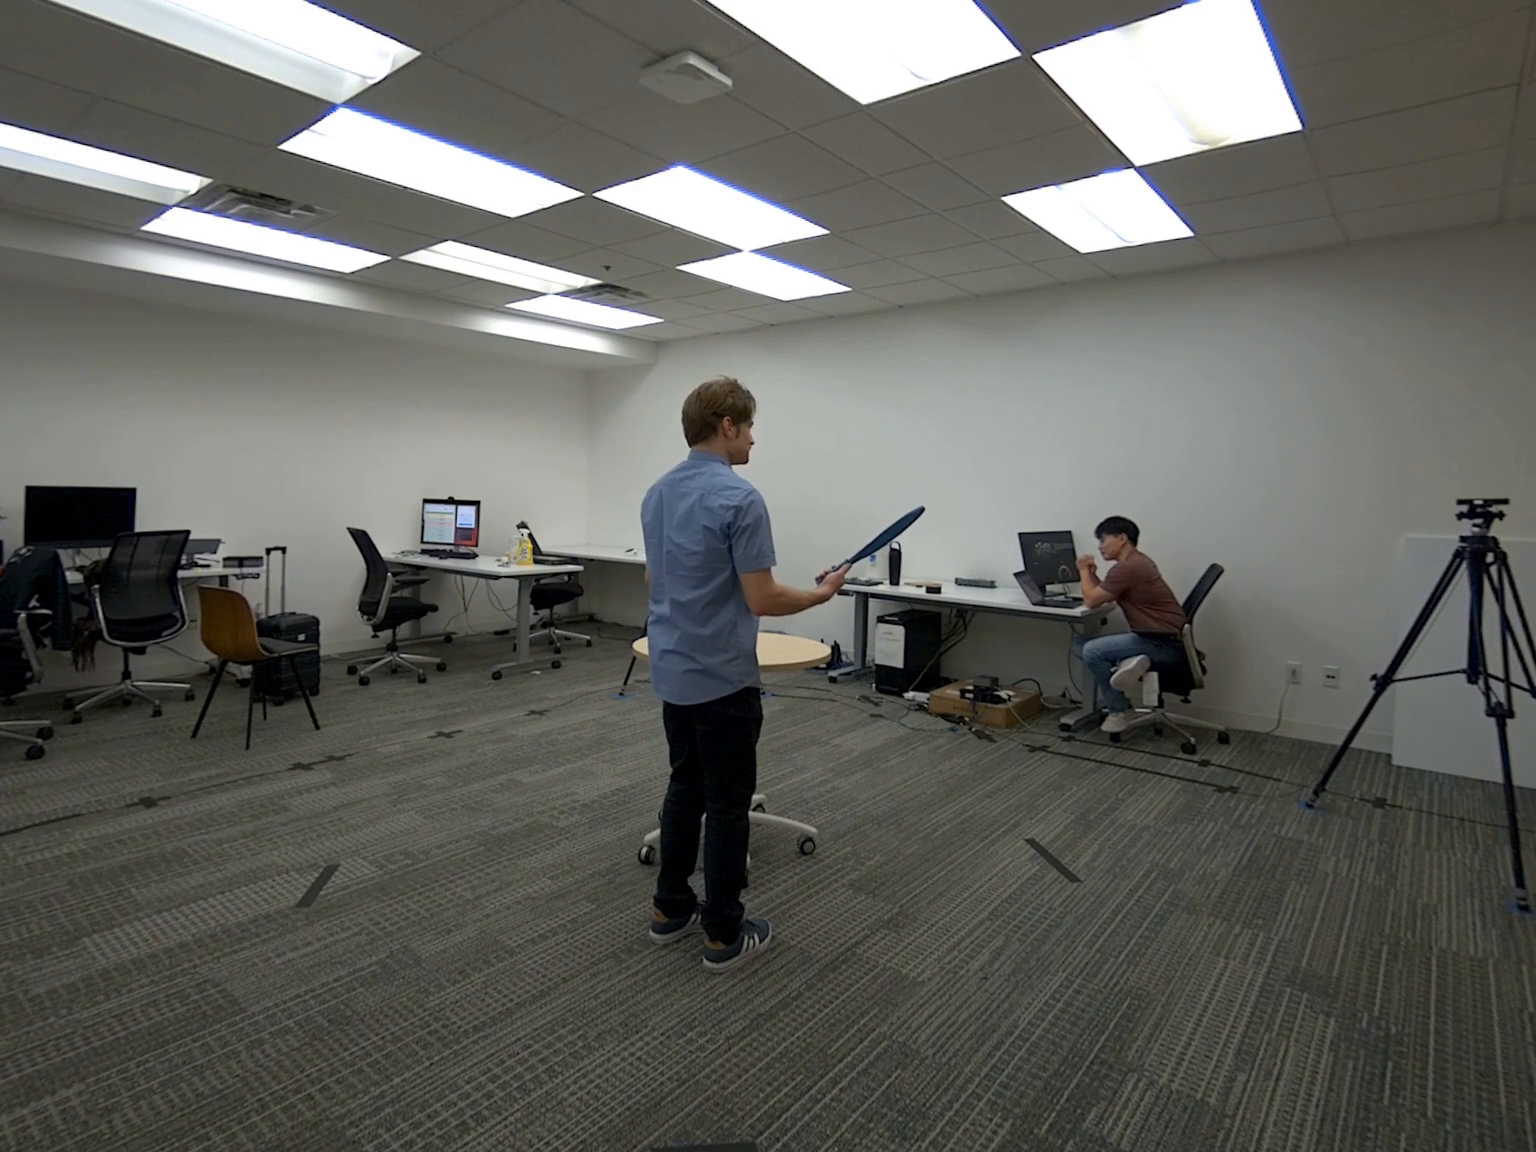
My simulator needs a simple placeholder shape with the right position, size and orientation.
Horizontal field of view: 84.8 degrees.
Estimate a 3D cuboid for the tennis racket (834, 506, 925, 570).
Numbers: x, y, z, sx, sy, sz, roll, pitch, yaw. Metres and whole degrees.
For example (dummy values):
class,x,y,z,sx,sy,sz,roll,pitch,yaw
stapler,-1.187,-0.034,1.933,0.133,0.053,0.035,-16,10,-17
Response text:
class,x,y,z,sx,sy,sz,roll,pitch,yaw
tennis racket,0.313,-0.091,2.648,0.430,0.032,0.210,-34,-13,-17
